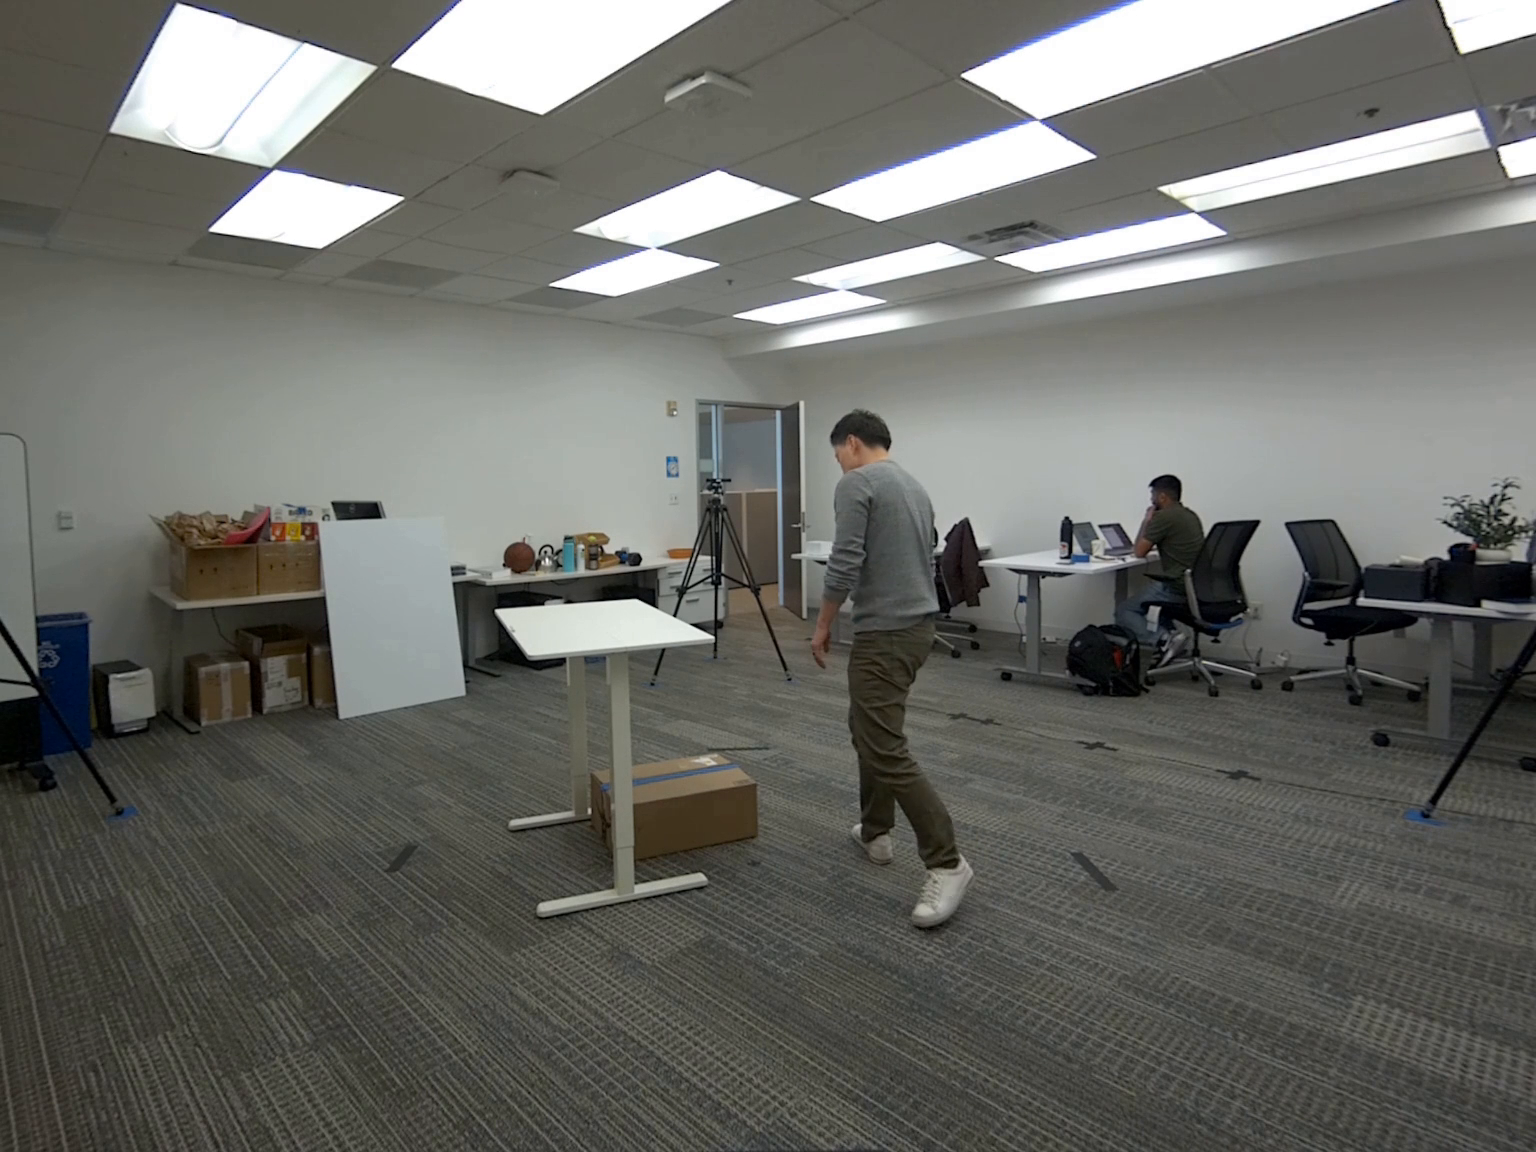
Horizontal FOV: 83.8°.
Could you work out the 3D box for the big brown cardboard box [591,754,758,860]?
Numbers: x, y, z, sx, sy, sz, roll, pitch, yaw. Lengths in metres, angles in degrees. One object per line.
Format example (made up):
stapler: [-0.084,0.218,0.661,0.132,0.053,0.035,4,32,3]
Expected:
big brown cardboard box: [-0.378,0.903,3.407,0.577,0.232,0.428,-5,7,-25]
